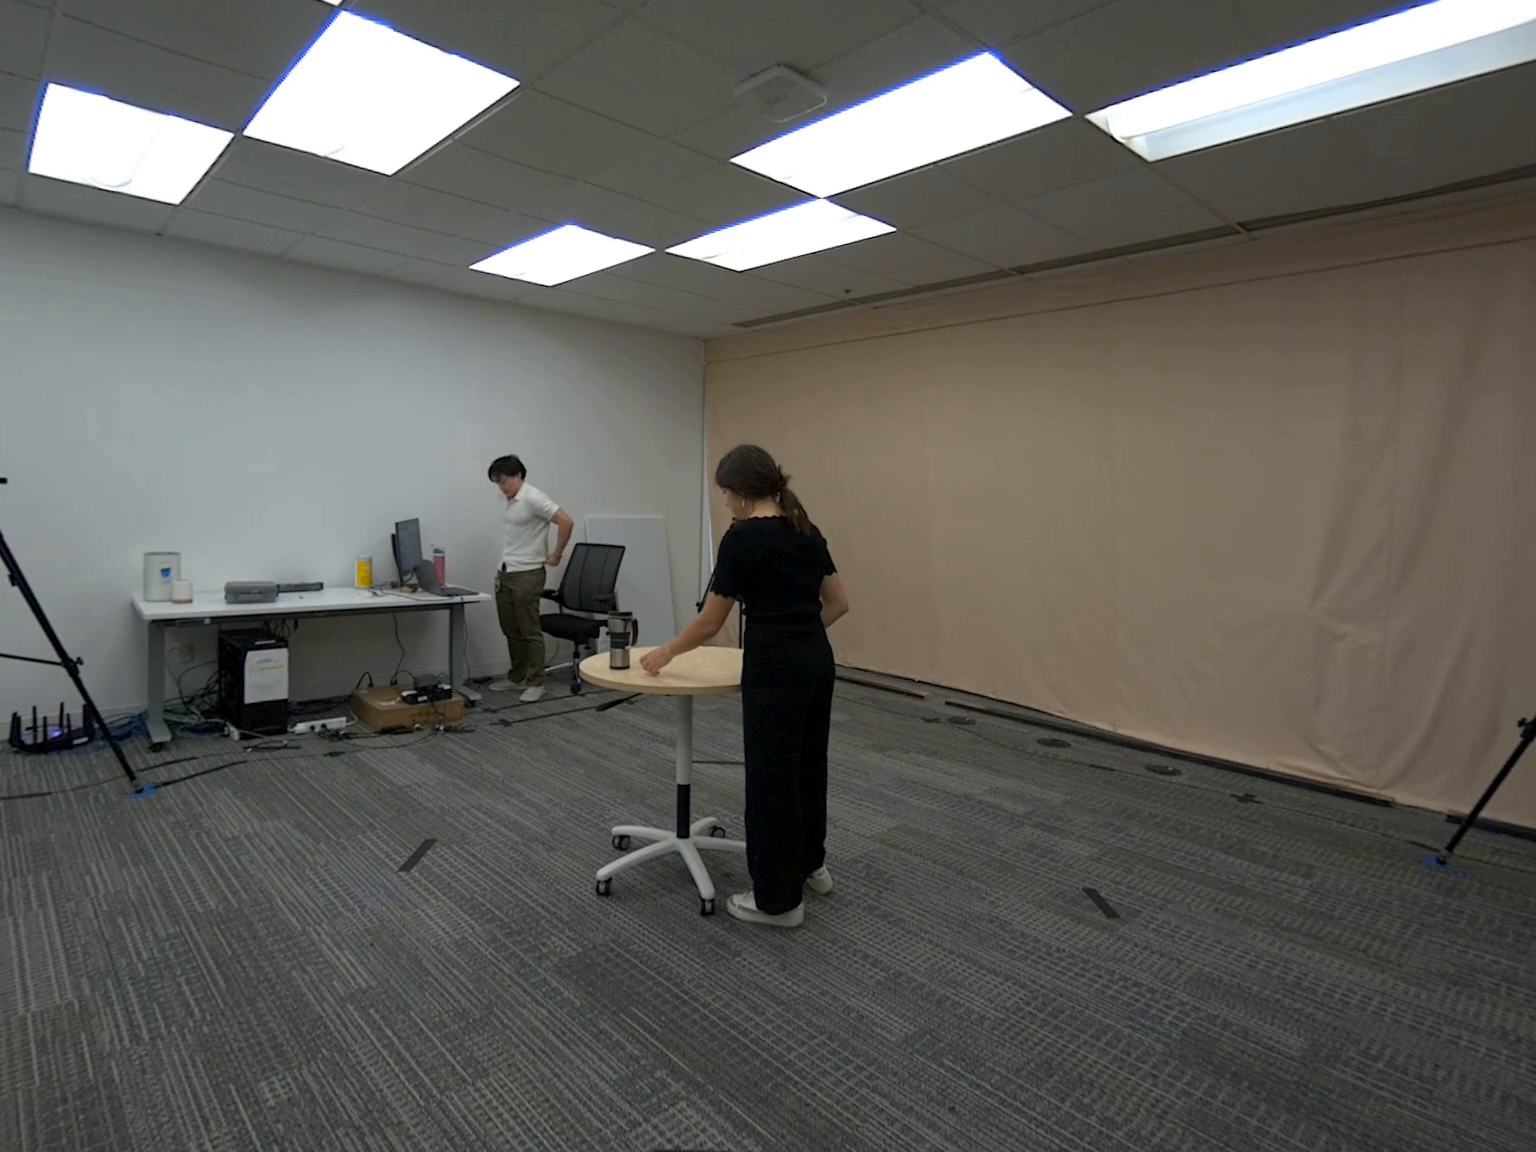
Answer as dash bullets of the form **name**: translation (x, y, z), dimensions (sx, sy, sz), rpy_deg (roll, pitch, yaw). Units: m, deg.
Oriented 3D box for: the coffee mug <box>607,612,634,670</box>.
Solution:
- **coffee mug**: translation (-0.514, 0.228, 2.950), dimensions (0.086, 0.203, 0.124), rpy_deg (4, -1, -31)
